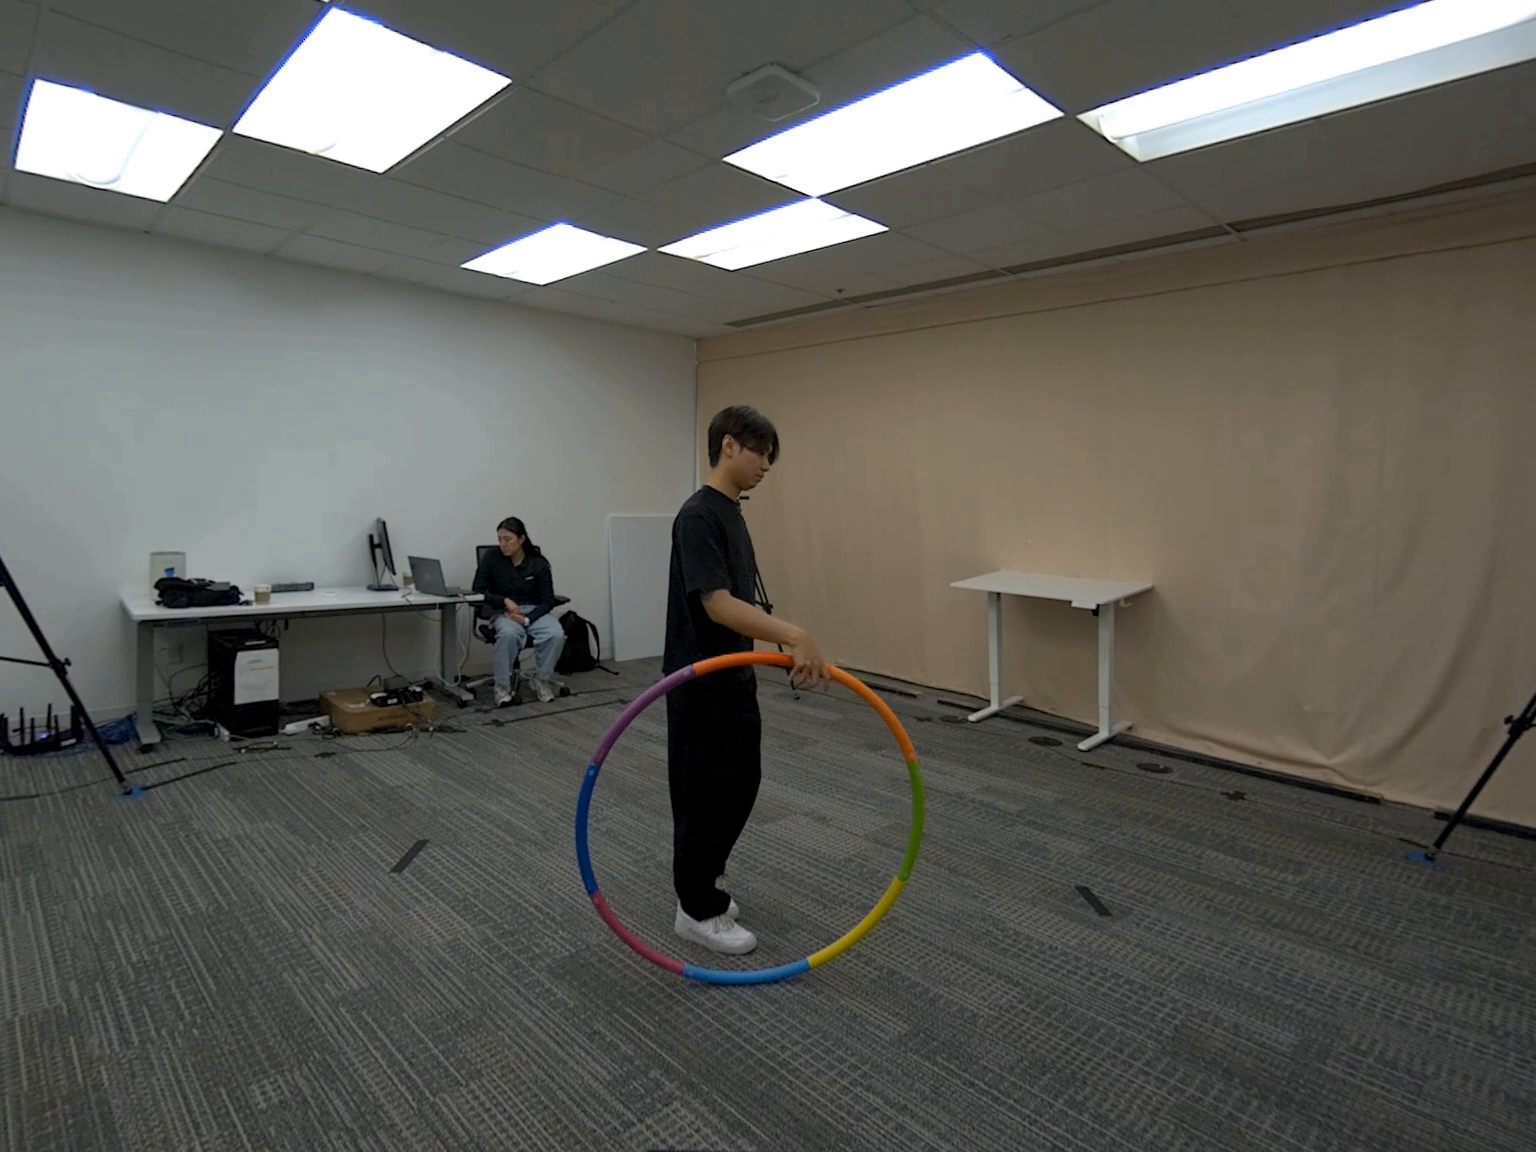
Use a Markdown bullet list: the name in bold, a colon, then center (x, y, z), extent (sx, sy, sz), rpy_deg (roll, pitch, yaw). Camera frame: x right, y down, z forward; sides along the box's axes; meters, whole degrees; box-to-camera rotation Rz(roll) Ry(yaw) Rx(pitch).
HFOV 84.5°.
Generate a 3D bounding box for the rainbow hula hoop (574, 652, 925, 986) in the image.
- **rainbow hula hoop**: center (-0.042, 0.694, 2.338), extent (0.972, 0.972, 0.036), rpy_deg (1, 9, -8)
